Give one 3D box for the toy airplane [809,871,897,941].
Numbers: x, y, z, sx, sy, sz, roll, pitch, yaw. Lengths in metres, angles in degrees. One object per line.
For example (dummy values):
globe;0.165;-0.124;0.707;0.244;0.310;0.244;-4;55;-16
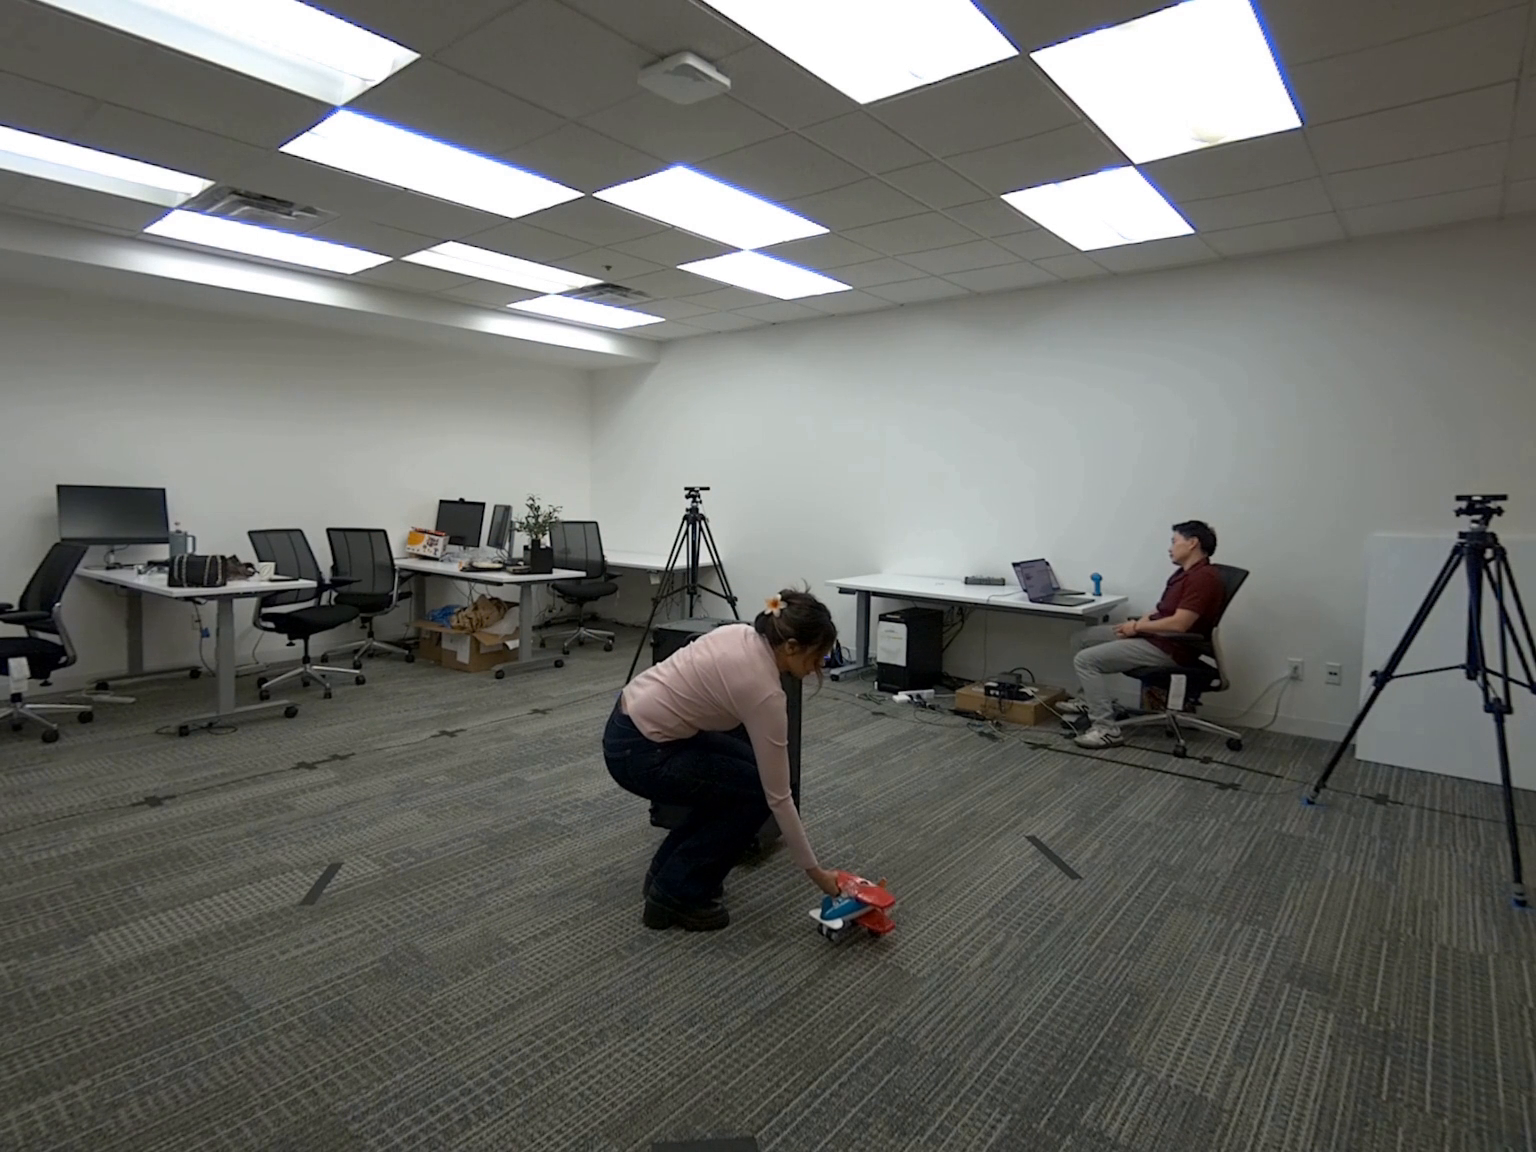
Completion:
toy airplane;0.262;1.037;2.628;0.257;0.157;0.252;7;-3;21
